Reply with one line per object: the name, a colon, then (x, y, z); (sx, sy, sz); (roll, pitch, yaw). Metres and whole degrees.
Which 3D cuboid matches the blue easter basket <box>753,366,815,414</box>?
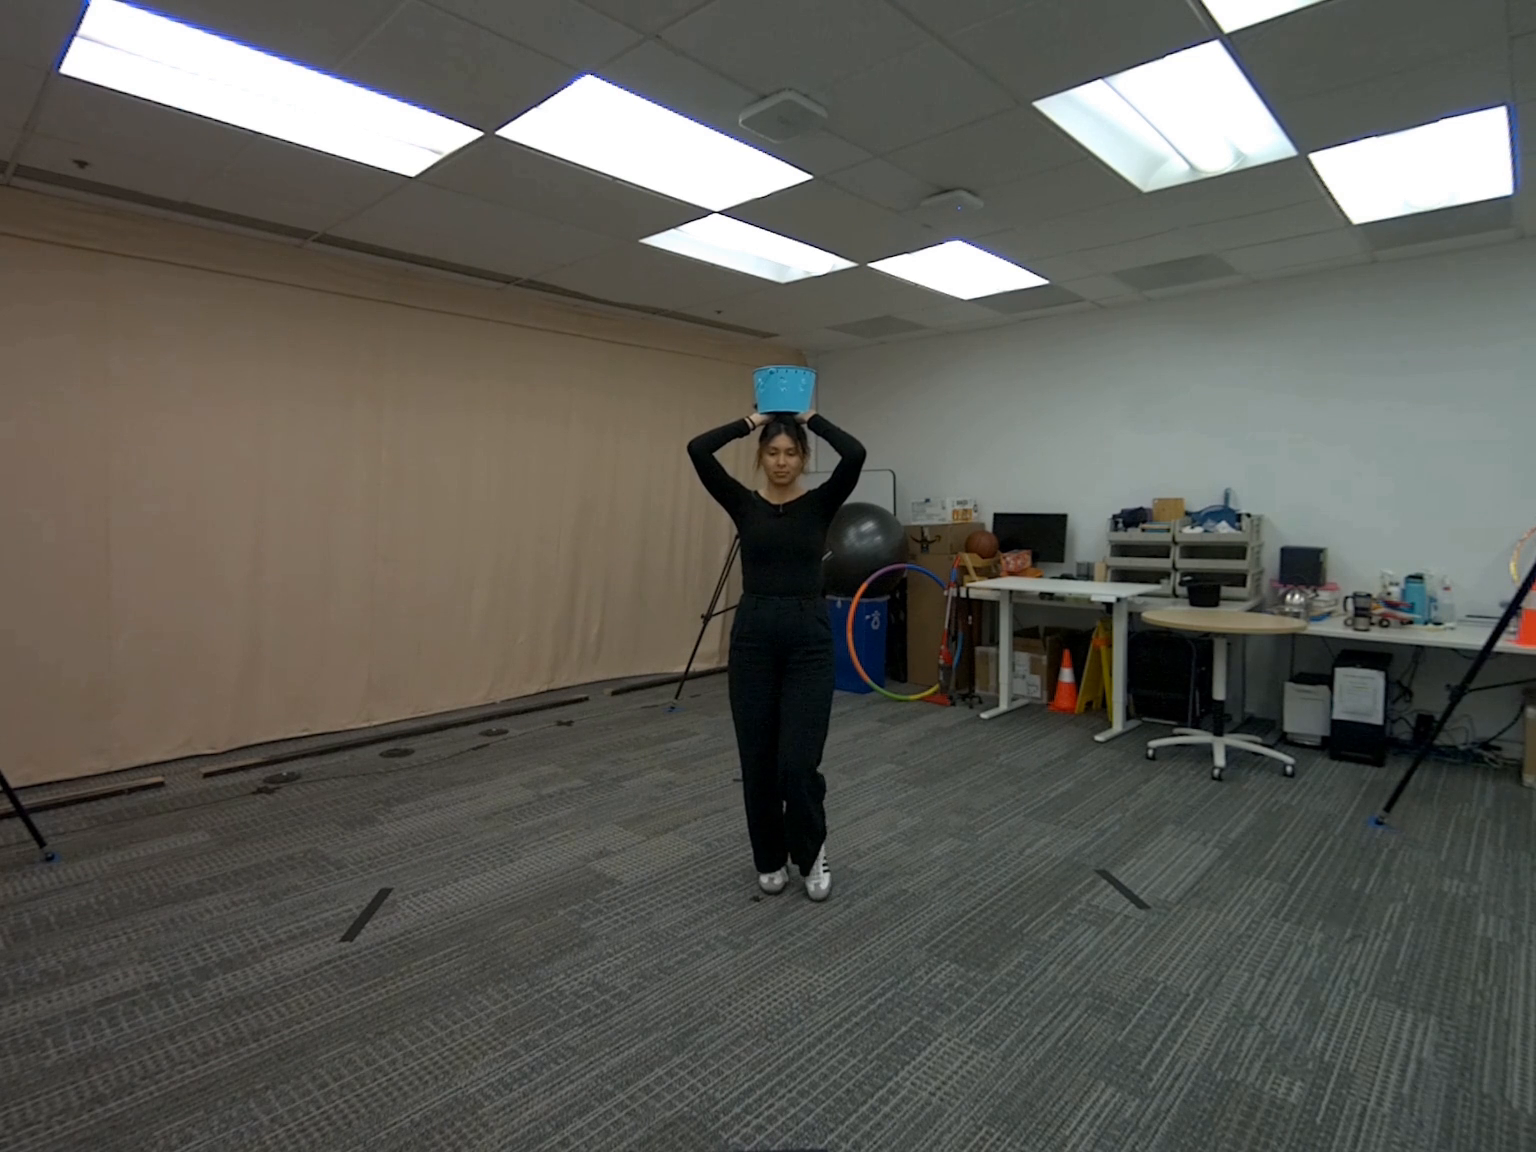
blue easter basket: (0.057, -0.650, 3.032); (0.243, 0.156, 0.244); (3, 0, -2)
